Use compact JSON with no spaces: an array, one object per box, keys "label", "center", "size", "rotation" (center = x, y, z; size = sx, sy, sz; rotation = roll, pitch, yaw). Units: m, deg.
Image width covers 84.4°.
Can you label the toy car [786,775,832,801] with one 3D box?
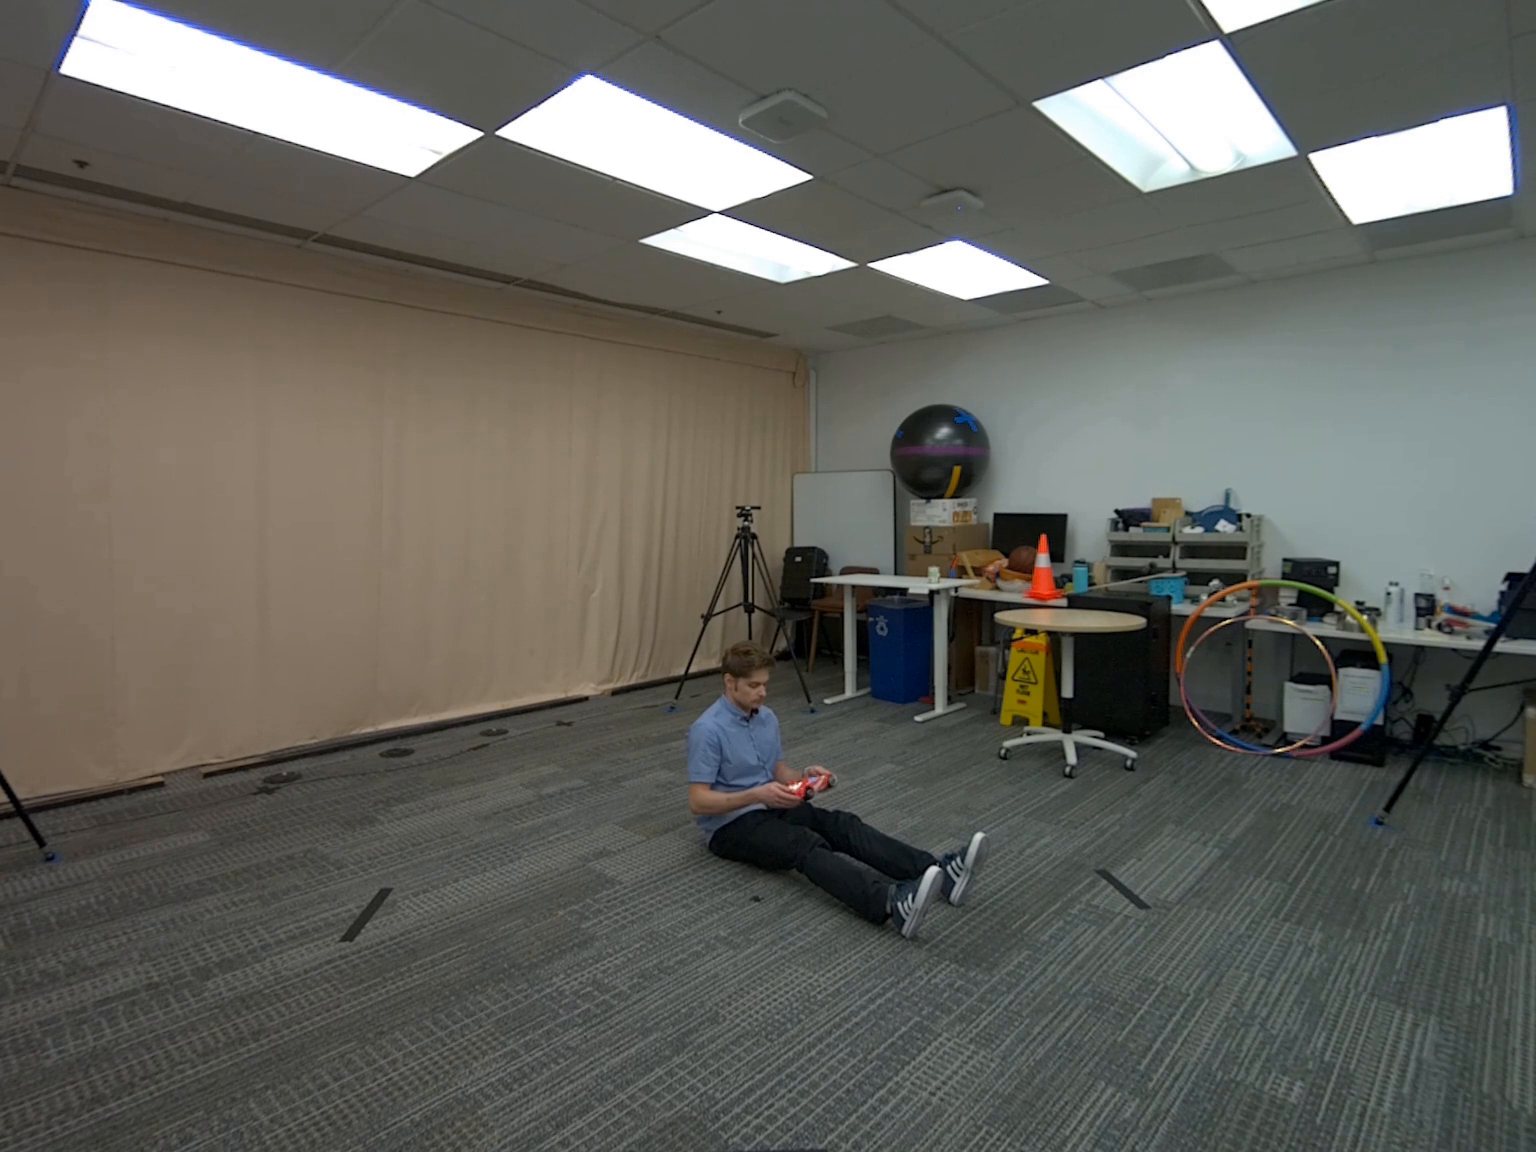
[{"label":"toy car","center":[0.152,0.814,3.220],"size":[0.246,0.084,0.132],"rotation":[3,-26,-44]}]
